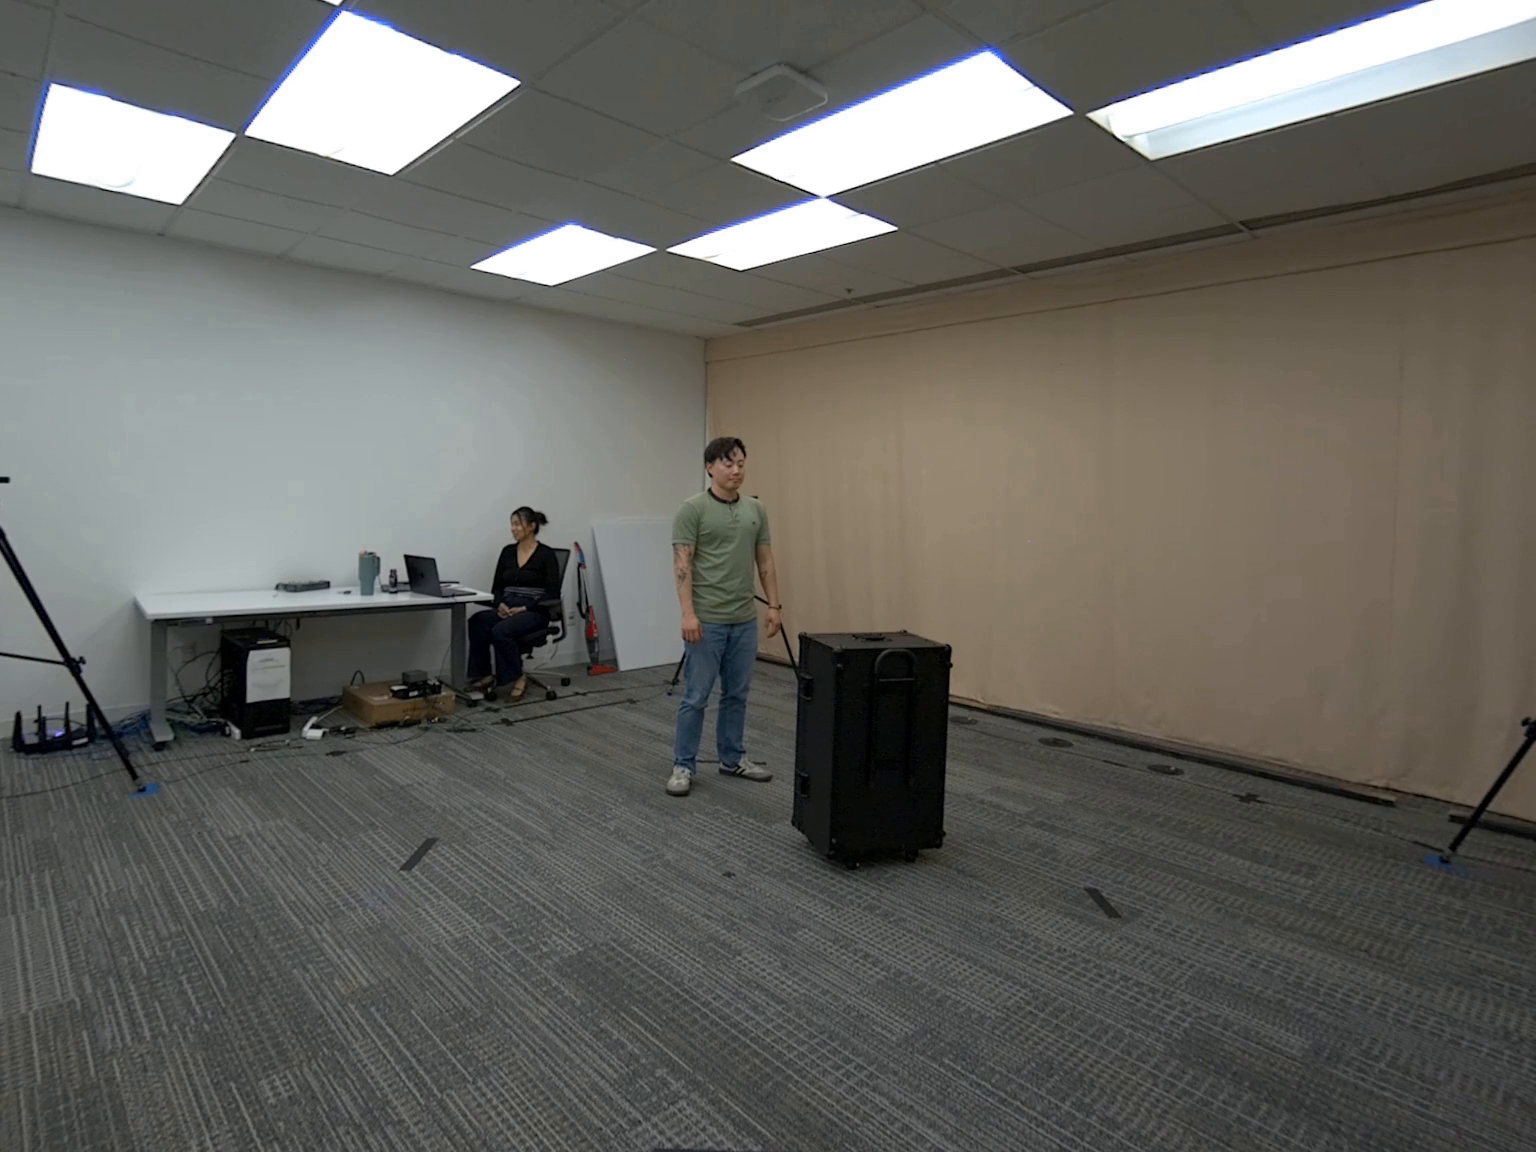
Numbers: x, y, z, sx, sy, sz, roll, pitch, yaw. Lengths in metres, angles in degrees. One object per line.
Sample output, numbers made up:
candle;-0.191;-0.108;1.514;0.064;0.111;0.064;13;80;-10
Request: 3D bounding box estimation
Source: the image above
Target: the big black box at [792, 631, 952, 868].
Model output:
big black box;0.401;0.673;3.298;0.513;0.859;0.403;1;4;-20
